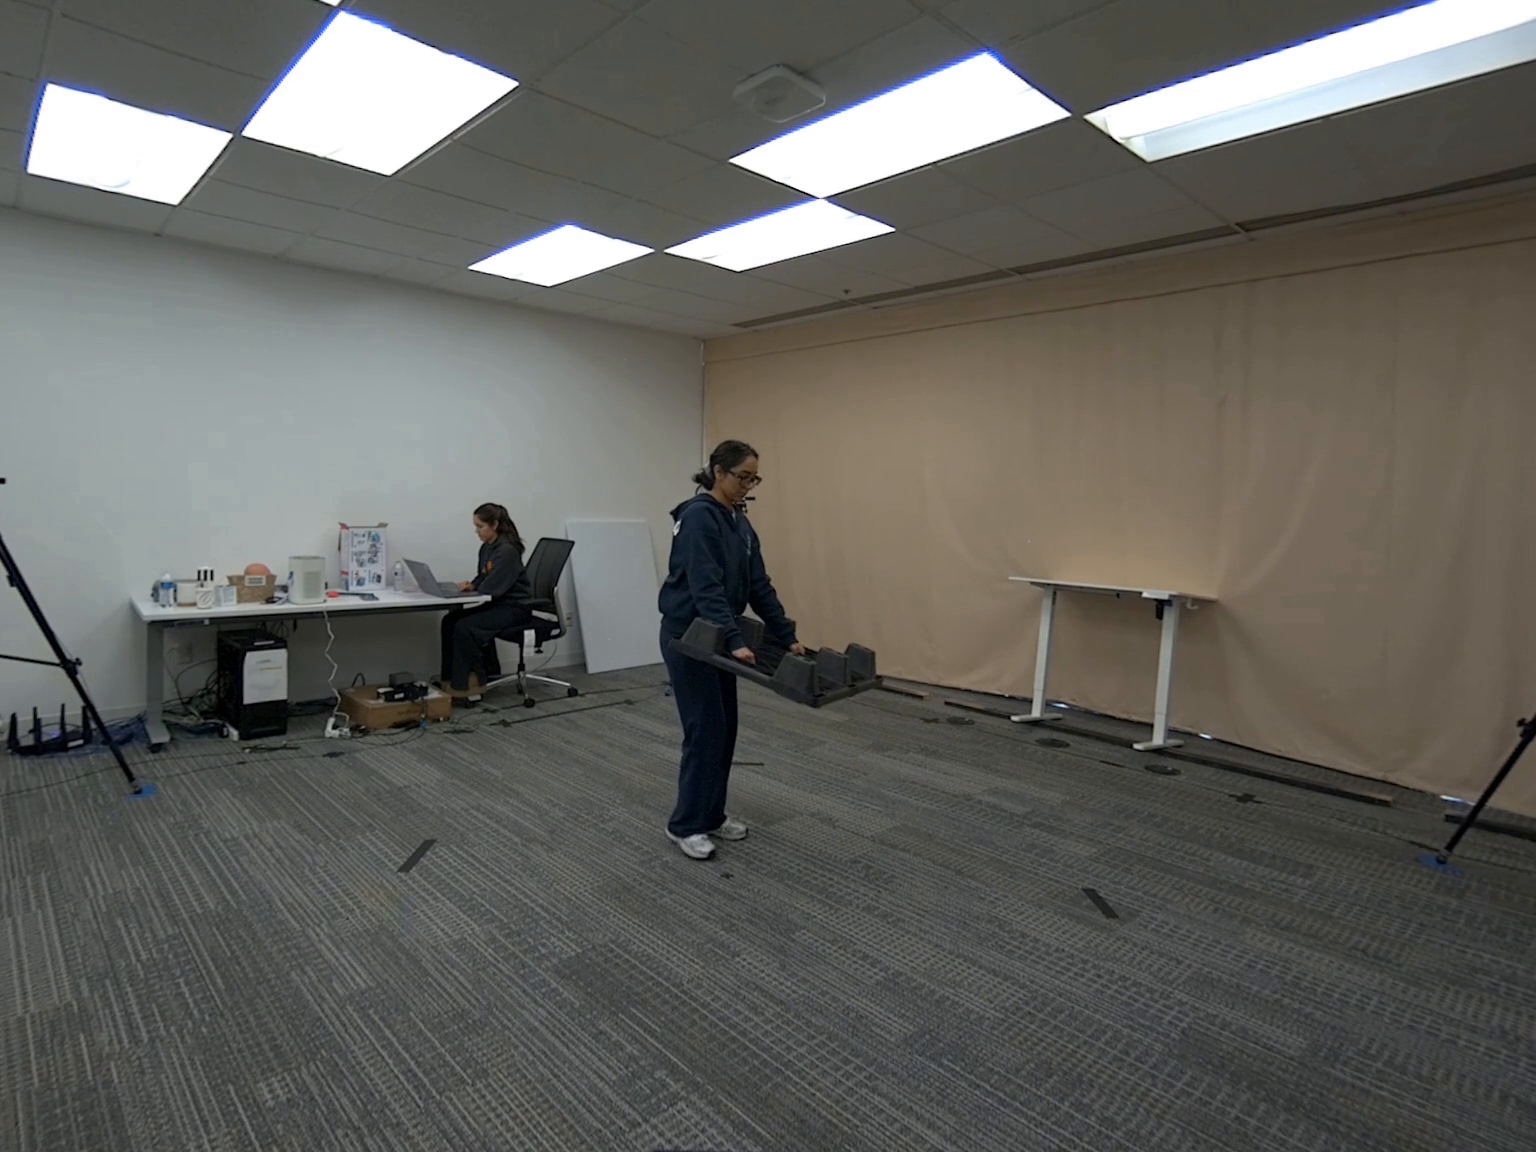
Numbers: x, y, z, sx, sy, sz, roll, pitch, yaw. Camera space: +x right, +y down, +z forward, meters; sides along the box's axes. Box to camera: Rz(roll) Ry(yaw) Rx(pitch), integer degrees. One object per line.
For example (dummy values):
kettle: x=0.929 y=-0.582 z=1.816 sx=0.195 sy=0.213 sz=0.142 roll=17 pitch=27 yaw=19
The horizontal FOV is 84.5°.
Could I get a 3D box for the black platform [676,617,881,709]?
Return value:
black platform: x=0.066 y=0.295 z=3.249 sx=0.619 sy=0.143 sz=0.790 roll=20 pitch=7 yaw=23
